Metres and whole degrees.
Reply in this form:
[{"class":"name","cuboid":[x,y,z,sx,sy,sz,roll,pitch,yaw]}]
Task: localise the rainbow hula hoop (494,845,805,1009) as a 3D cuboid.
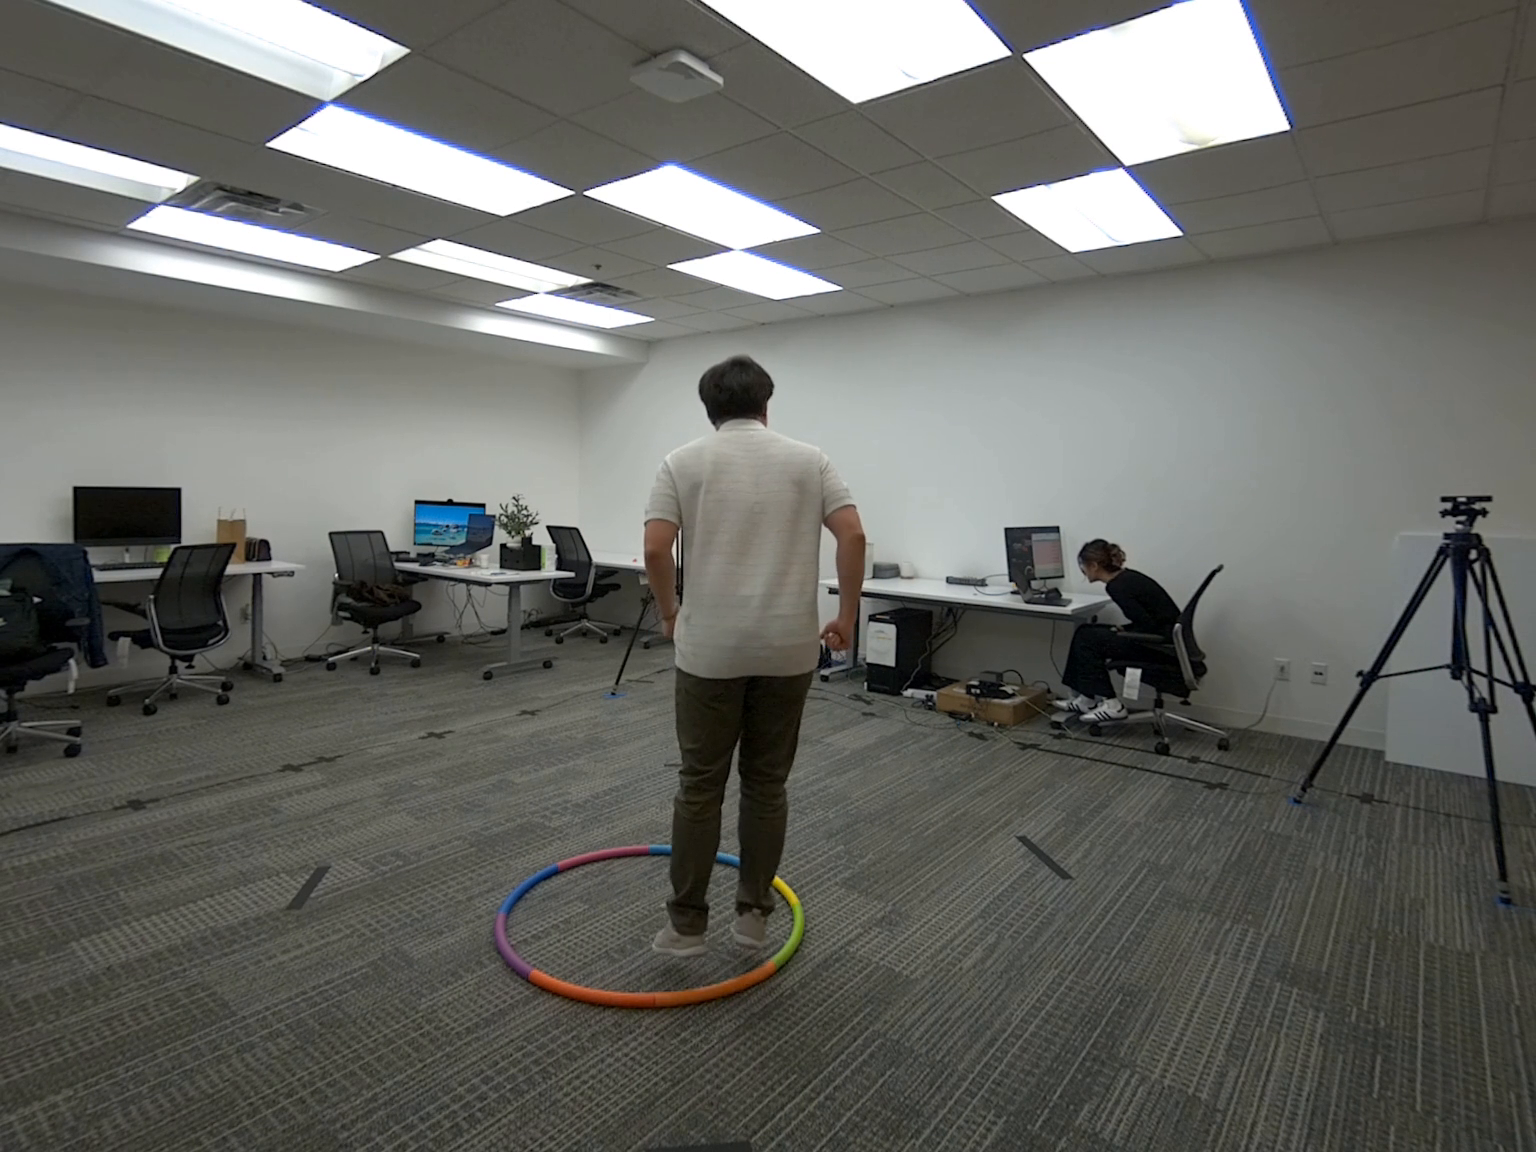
[{"class":"rainbow hula hoop","cuboid":[-0.382,1.070,2.749,0.978,0.035,0.984,1,6,-2]}]
